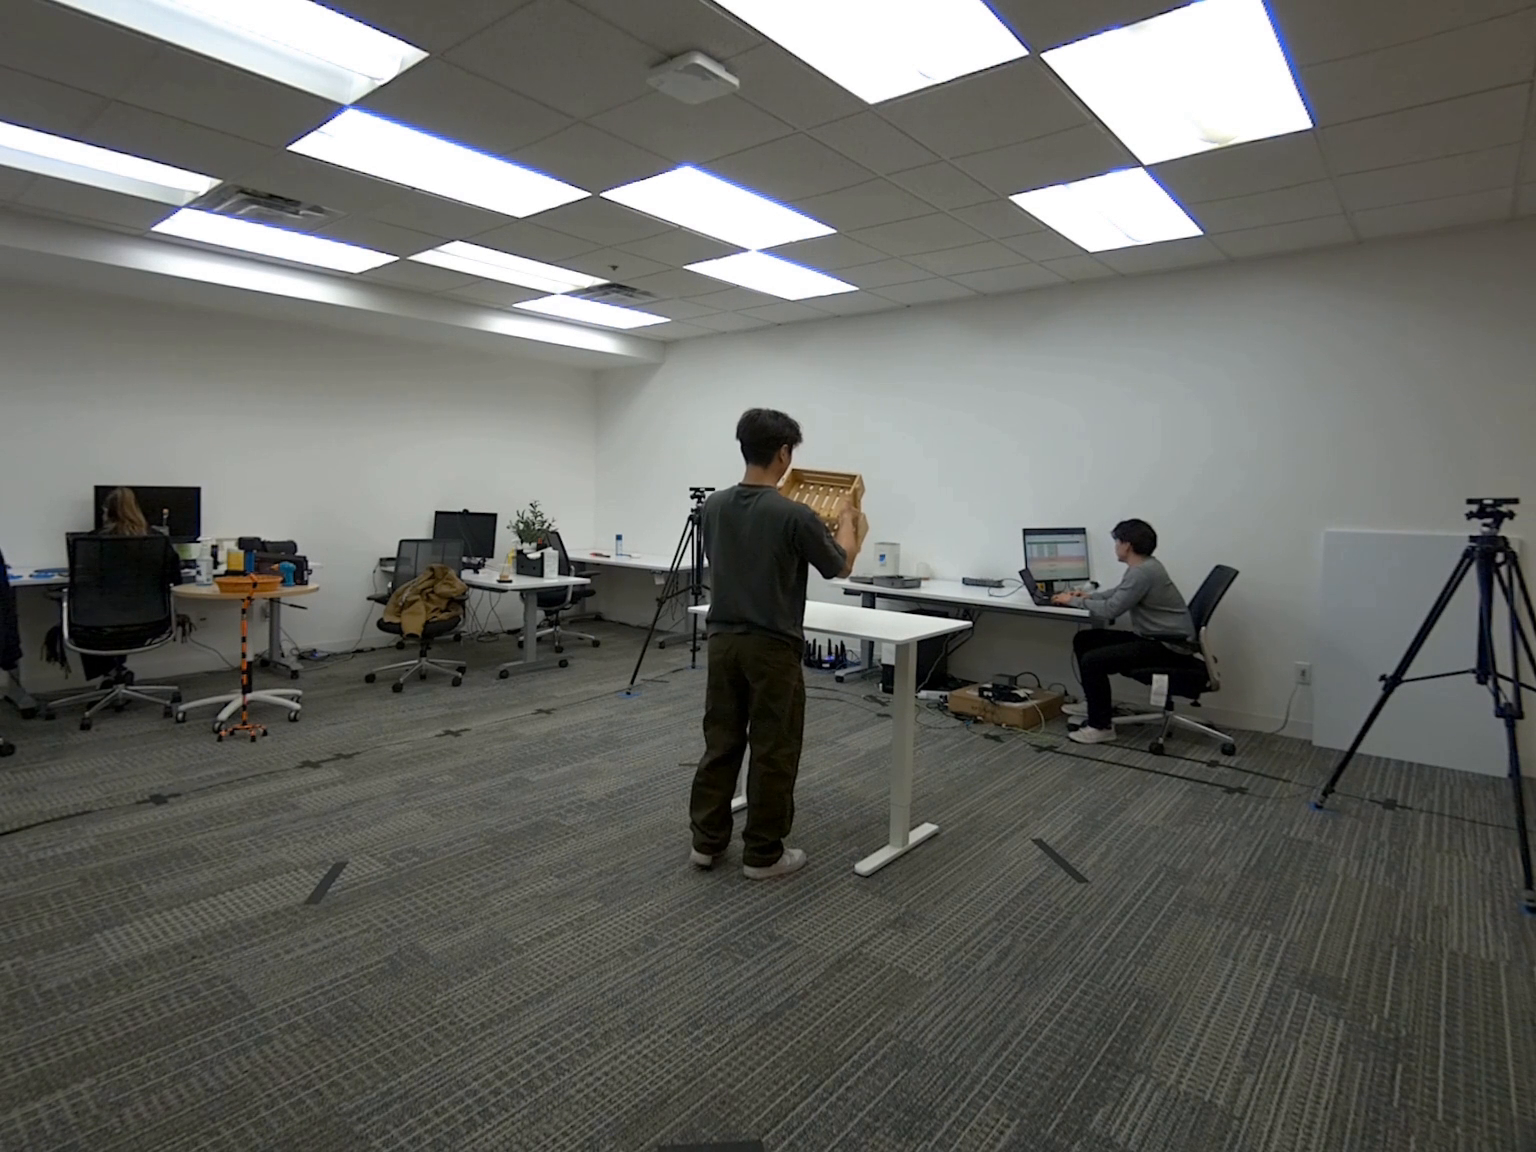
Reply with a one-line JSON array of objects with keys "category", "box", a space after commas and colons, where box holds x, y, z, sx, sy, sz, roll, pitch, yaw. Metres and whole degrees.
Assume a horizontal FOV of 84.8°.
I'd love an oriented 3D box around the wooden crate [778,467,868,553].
[{"category": "wooden crate", "box": [0.189, -0.227, 3.348, 0.335, 0.304, 0.263, 9, -38, 29]}]
